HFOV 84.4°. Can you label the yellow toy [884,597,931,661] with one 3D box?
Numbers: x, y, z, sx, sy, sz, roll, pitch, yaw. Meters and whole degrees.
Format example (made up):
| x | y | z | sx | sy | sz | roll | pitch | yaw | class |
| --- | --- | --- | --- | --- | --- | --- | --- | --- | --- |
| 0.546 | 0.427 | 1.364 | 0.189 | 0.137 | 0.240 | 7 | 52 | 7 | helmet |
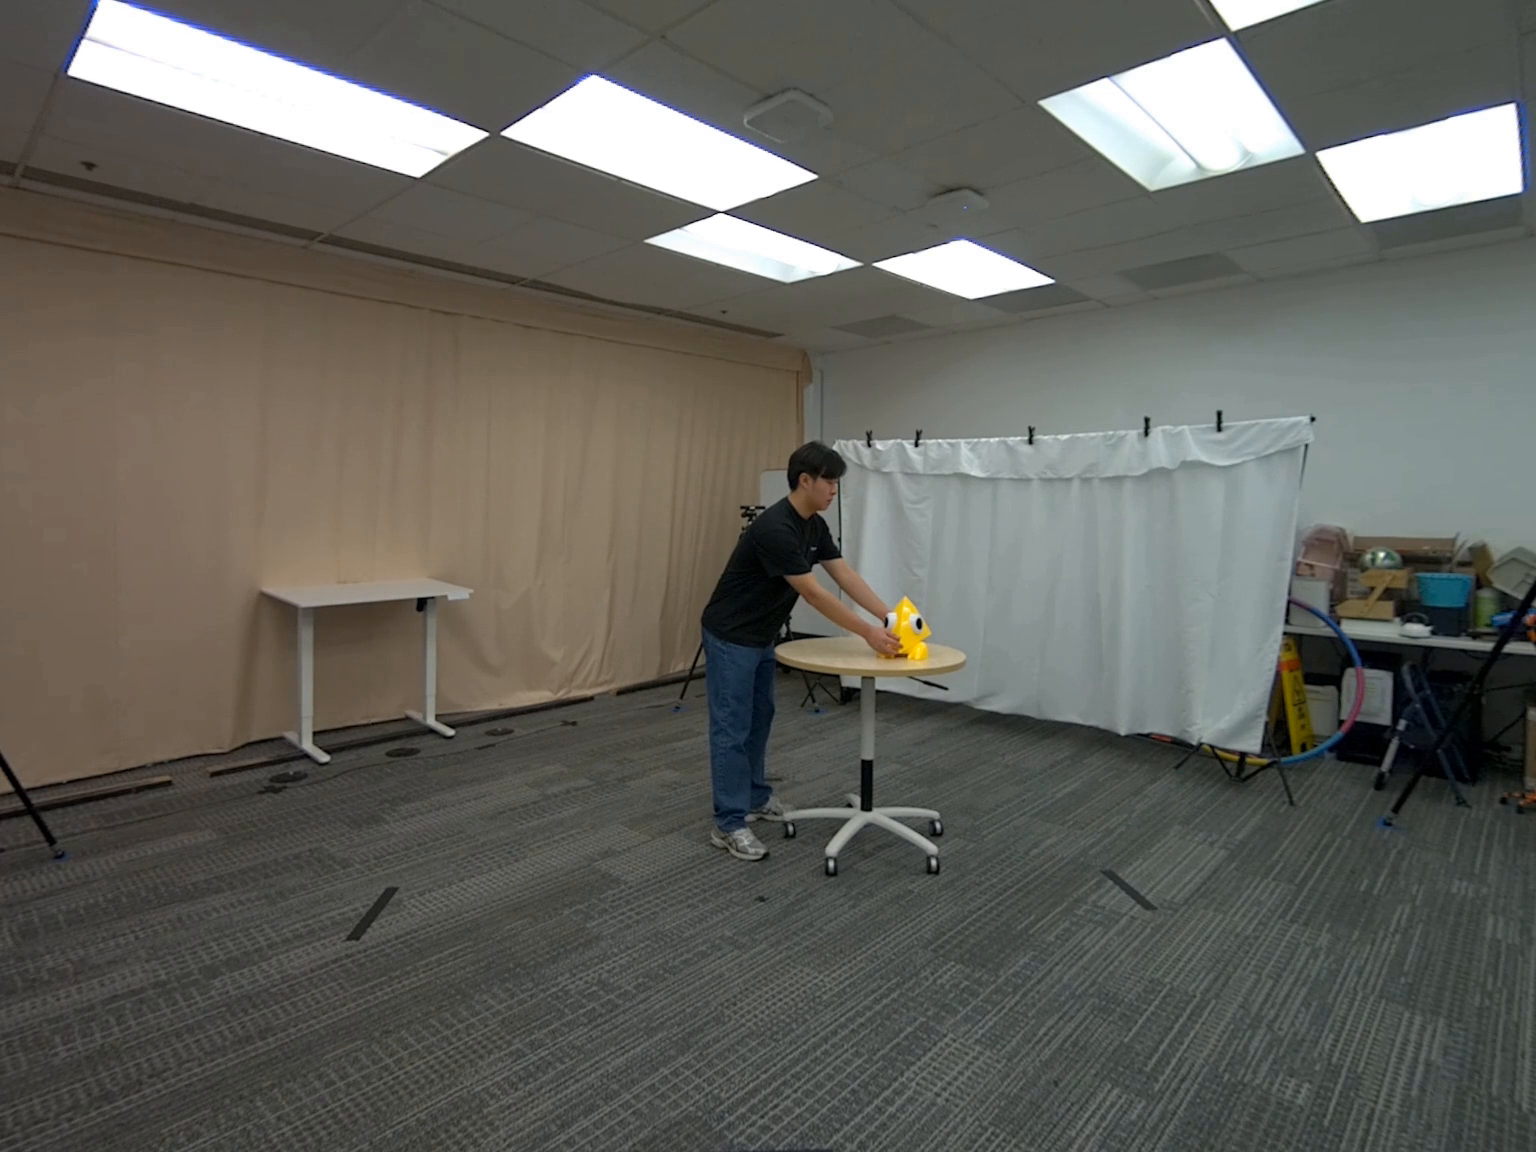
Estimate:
| x | y | z | sx | sy | sz | roll | pitch | yaw | class |
| --- | --- | --- | --- | --- | --- | --- | --- | --- | --- |
| 0.549 | 0.202 | 3.357 | 0.209 | 0.230 | 0.190 | 1 | 5 | 18 | yellow toy |
